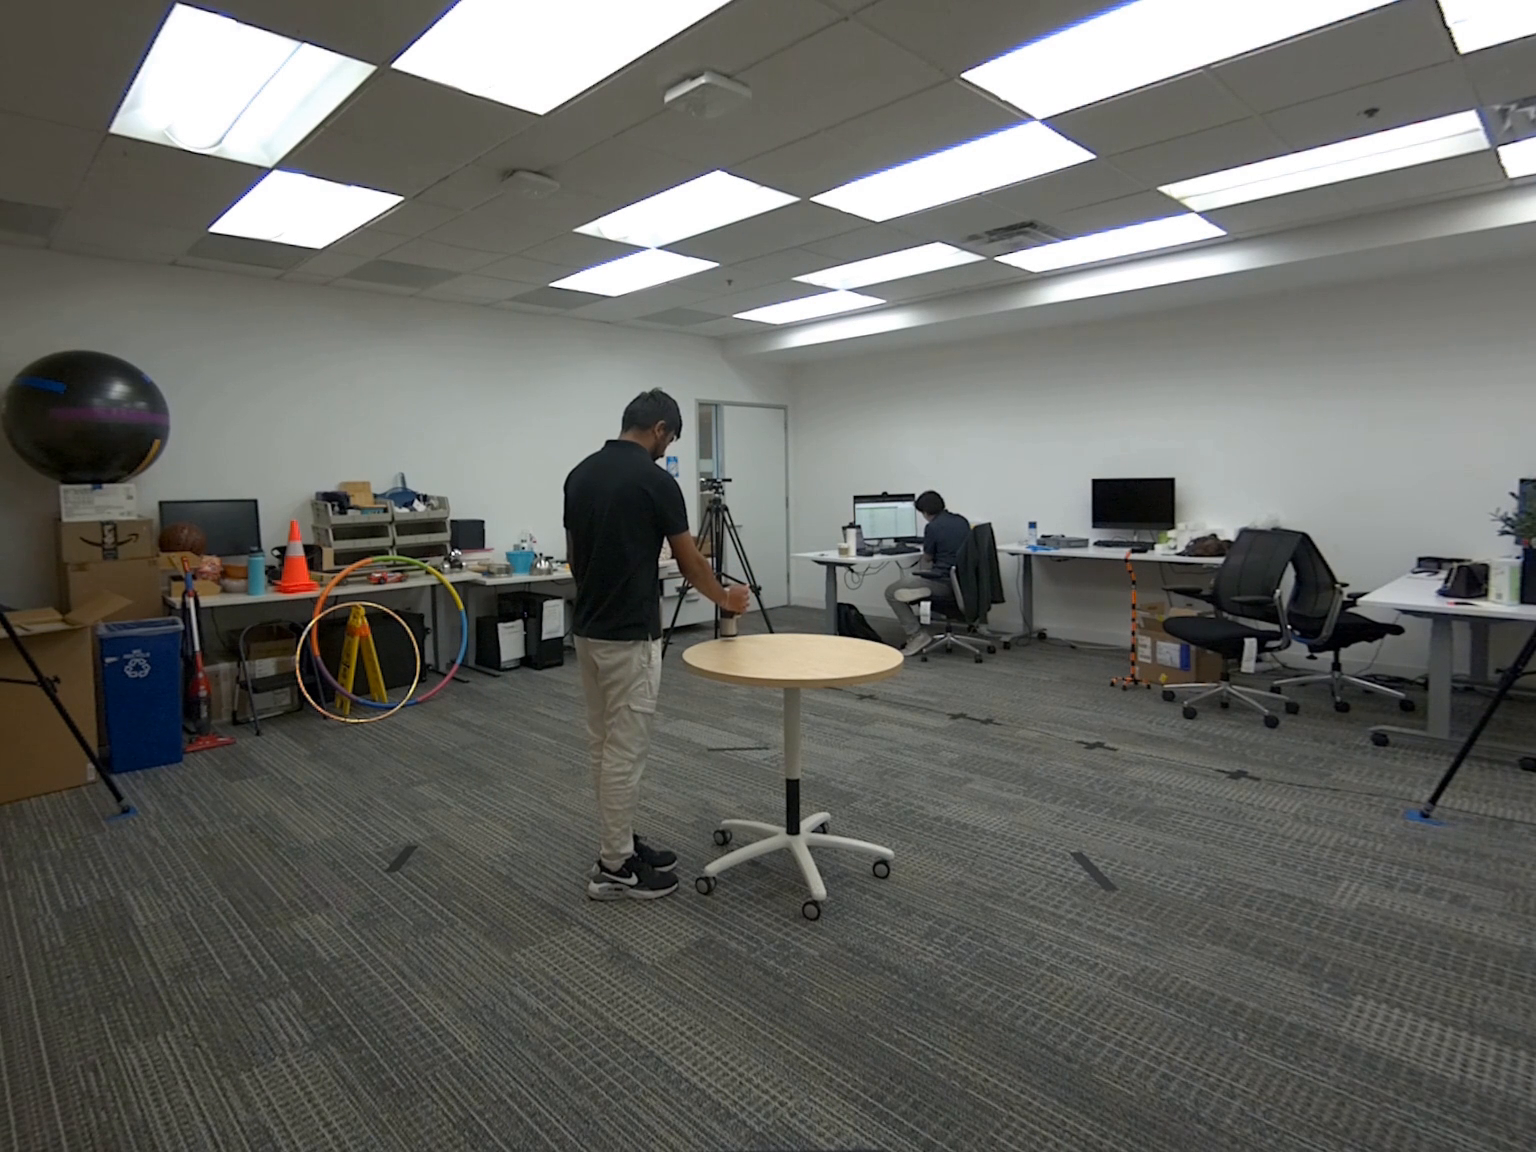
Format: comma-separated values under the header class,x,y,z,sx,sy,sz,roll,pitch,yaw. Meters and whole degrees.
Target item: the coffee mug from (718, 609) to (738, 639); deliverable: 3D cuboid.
class,x,y,z,sx,sy,sz,roll,pitch,yaw
coffee mug,-0.156,0.133,3.224,0.090,0.203,0.119,6,2,29
